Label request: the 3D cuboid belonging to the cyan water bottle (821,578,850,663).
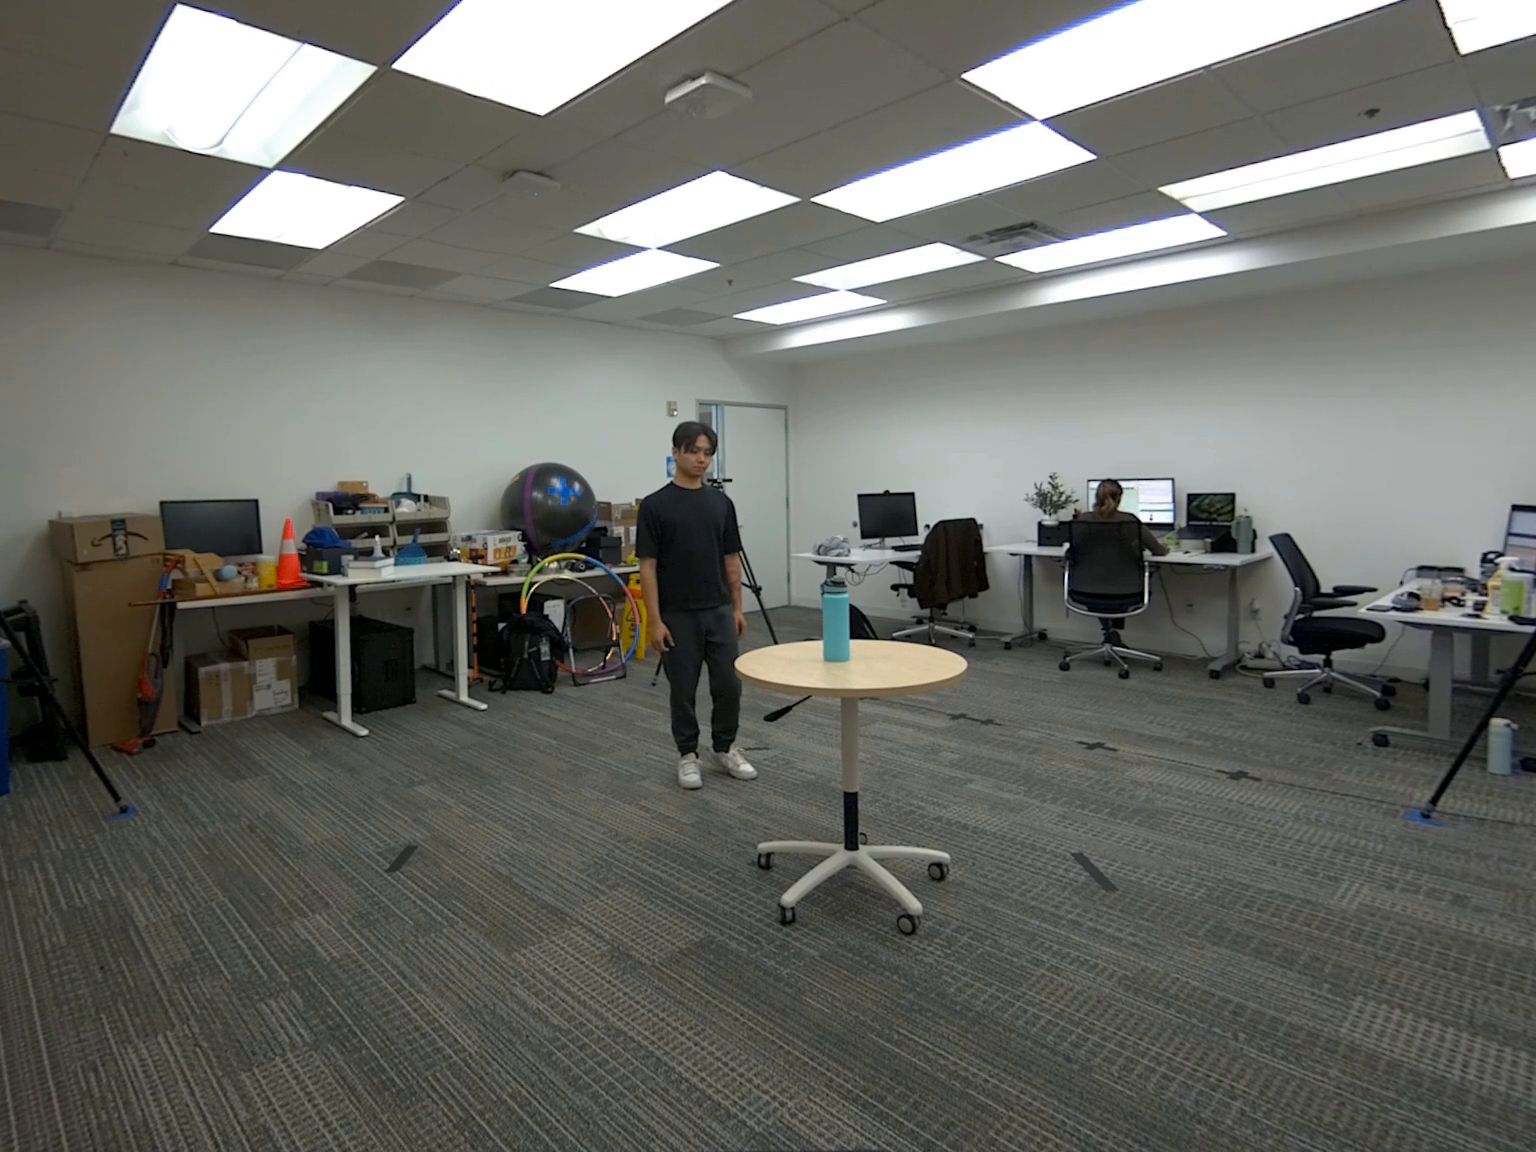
[{"bbox_3d":[0.234,0.145,2.882,0.092,0.283,0.092,-4,2,-1],"label":"cyan water bottle"}]
